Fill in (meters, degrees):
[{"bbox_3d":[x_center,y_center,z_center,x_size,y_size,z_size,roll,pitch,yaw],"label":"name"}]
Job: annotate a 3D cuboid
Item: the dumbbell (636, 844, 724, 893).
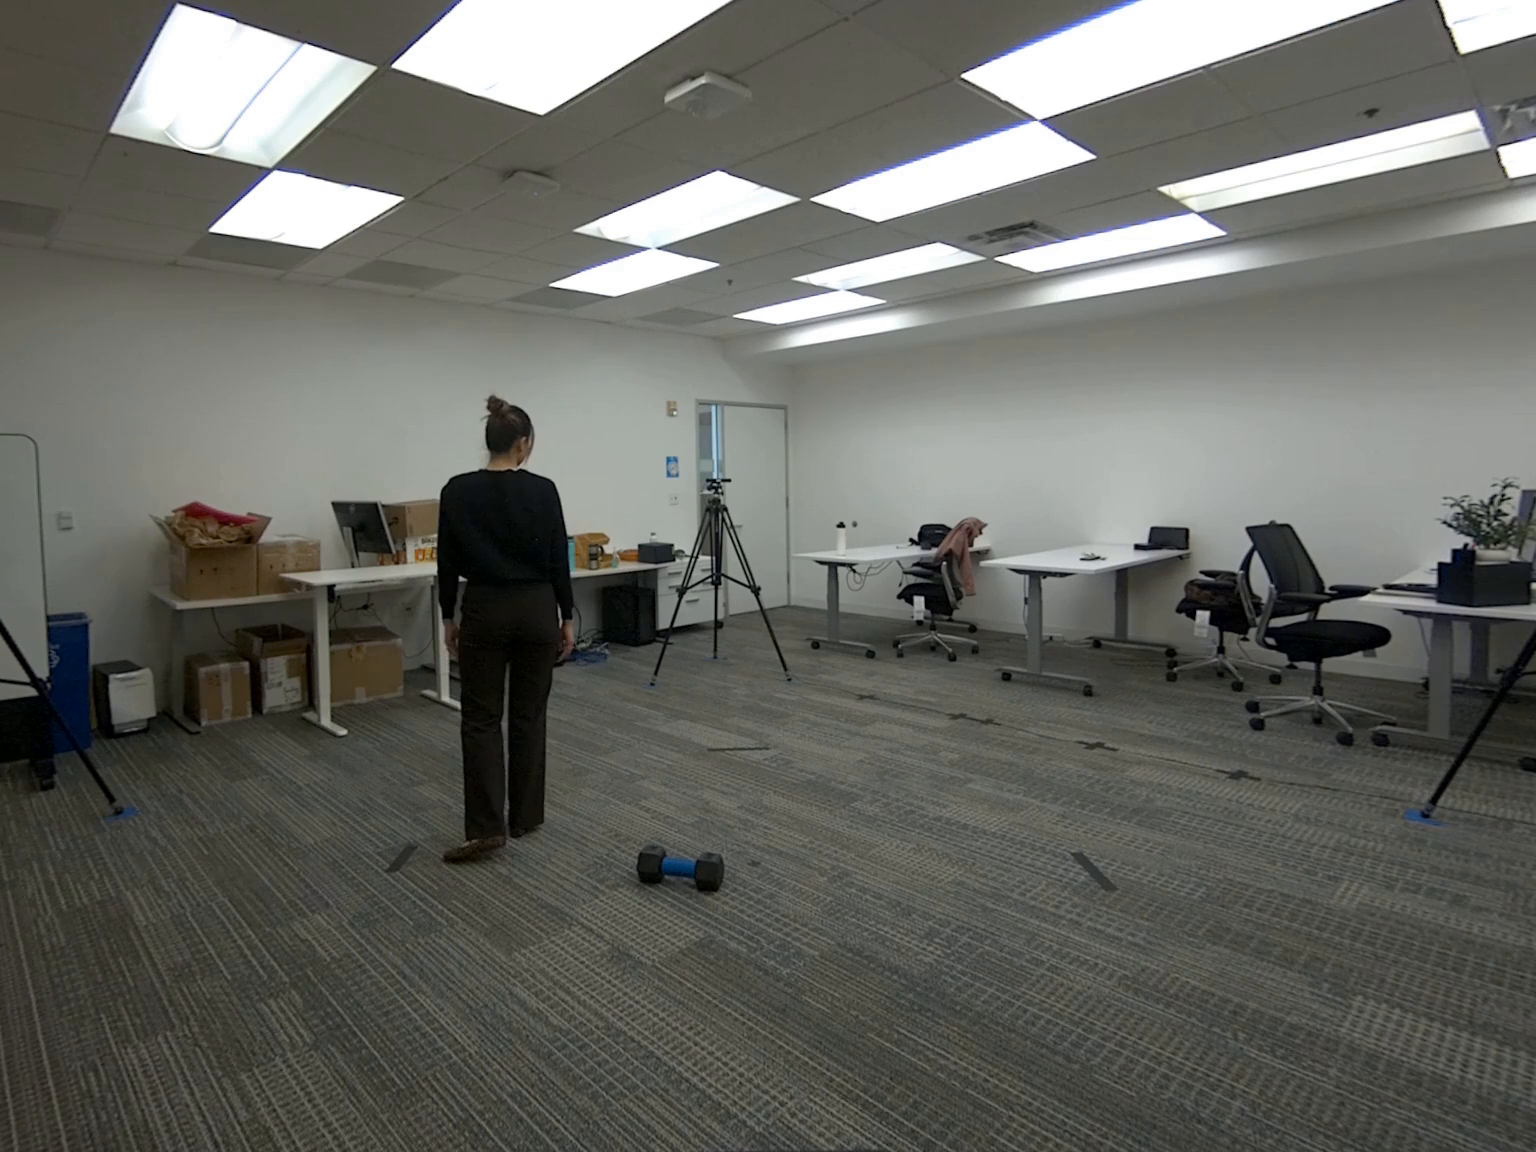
[{"bbox_3d":[-0.302,1.010,2.959,0.298,0.125,0.105,1,-25,16],"label":"dumbbell"}]
